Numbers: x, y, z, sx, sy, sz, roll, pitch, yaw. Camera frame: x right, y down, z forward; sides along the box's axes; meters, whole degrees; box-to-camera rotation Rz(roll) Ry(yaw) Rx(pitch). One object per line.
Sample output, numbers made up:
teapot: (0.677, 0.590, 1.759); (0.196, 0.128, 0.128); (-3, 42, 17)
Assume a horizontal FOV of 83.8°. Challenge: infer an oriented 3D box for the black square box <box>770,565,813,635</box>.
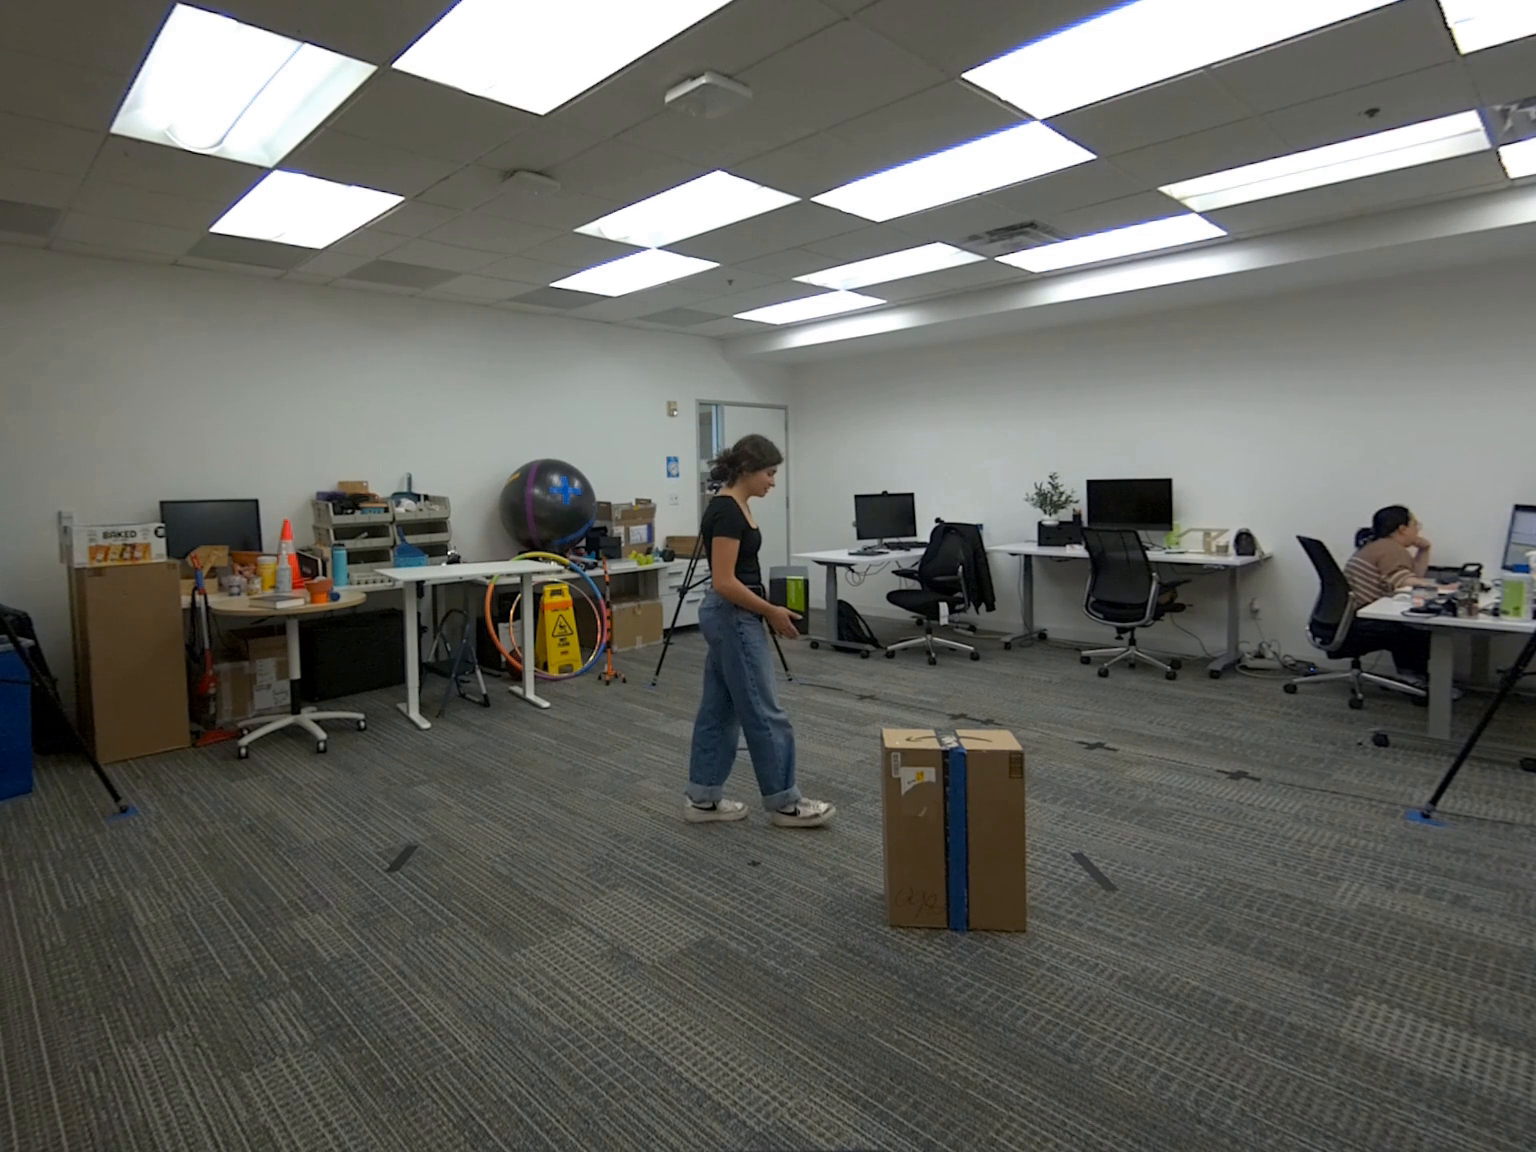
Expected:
black square box: (0.088, 0.091, 3.430); (0.156, 0.226, 0.219); (0, 11, -1)
